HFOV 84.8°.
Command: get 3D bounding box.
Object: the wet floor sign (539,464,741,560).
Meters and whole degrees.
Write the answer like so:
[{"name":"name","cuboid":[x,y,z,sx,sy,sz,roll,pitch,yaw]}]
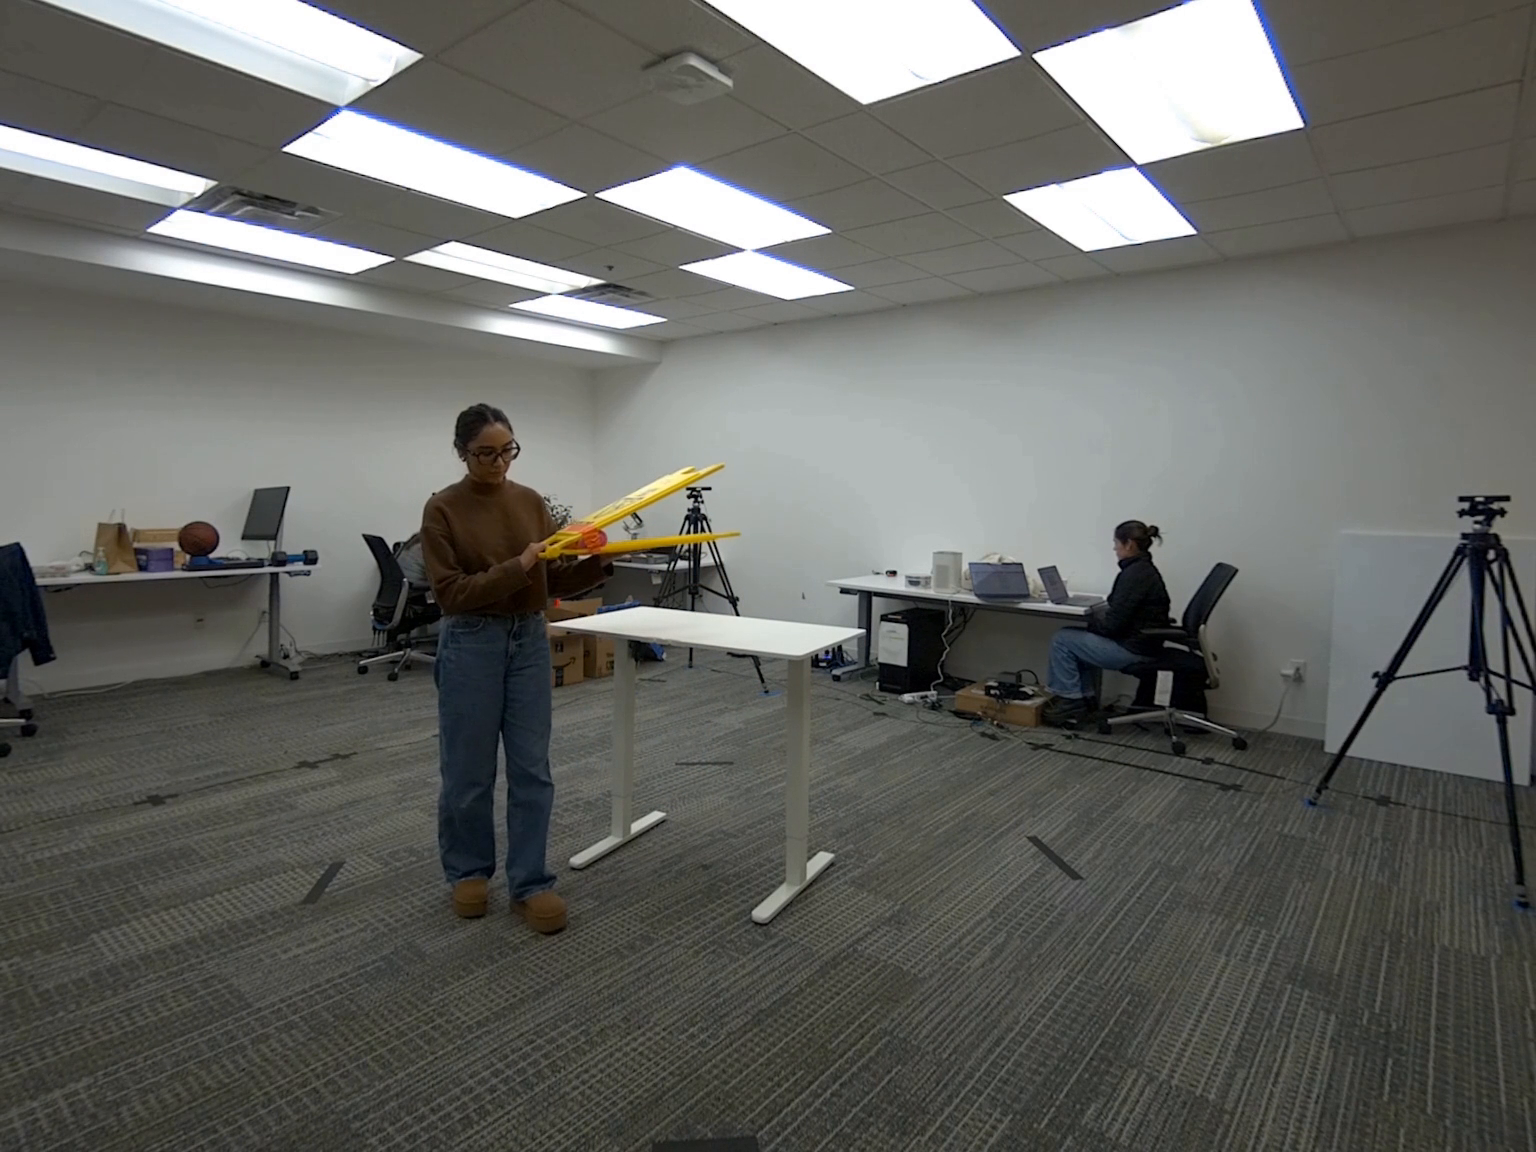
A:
[{"name":"wet floor sign","cuboid":[-0.461,-0.155,2.733,0.634,0.287,0.290,-18,10,-31]}]
